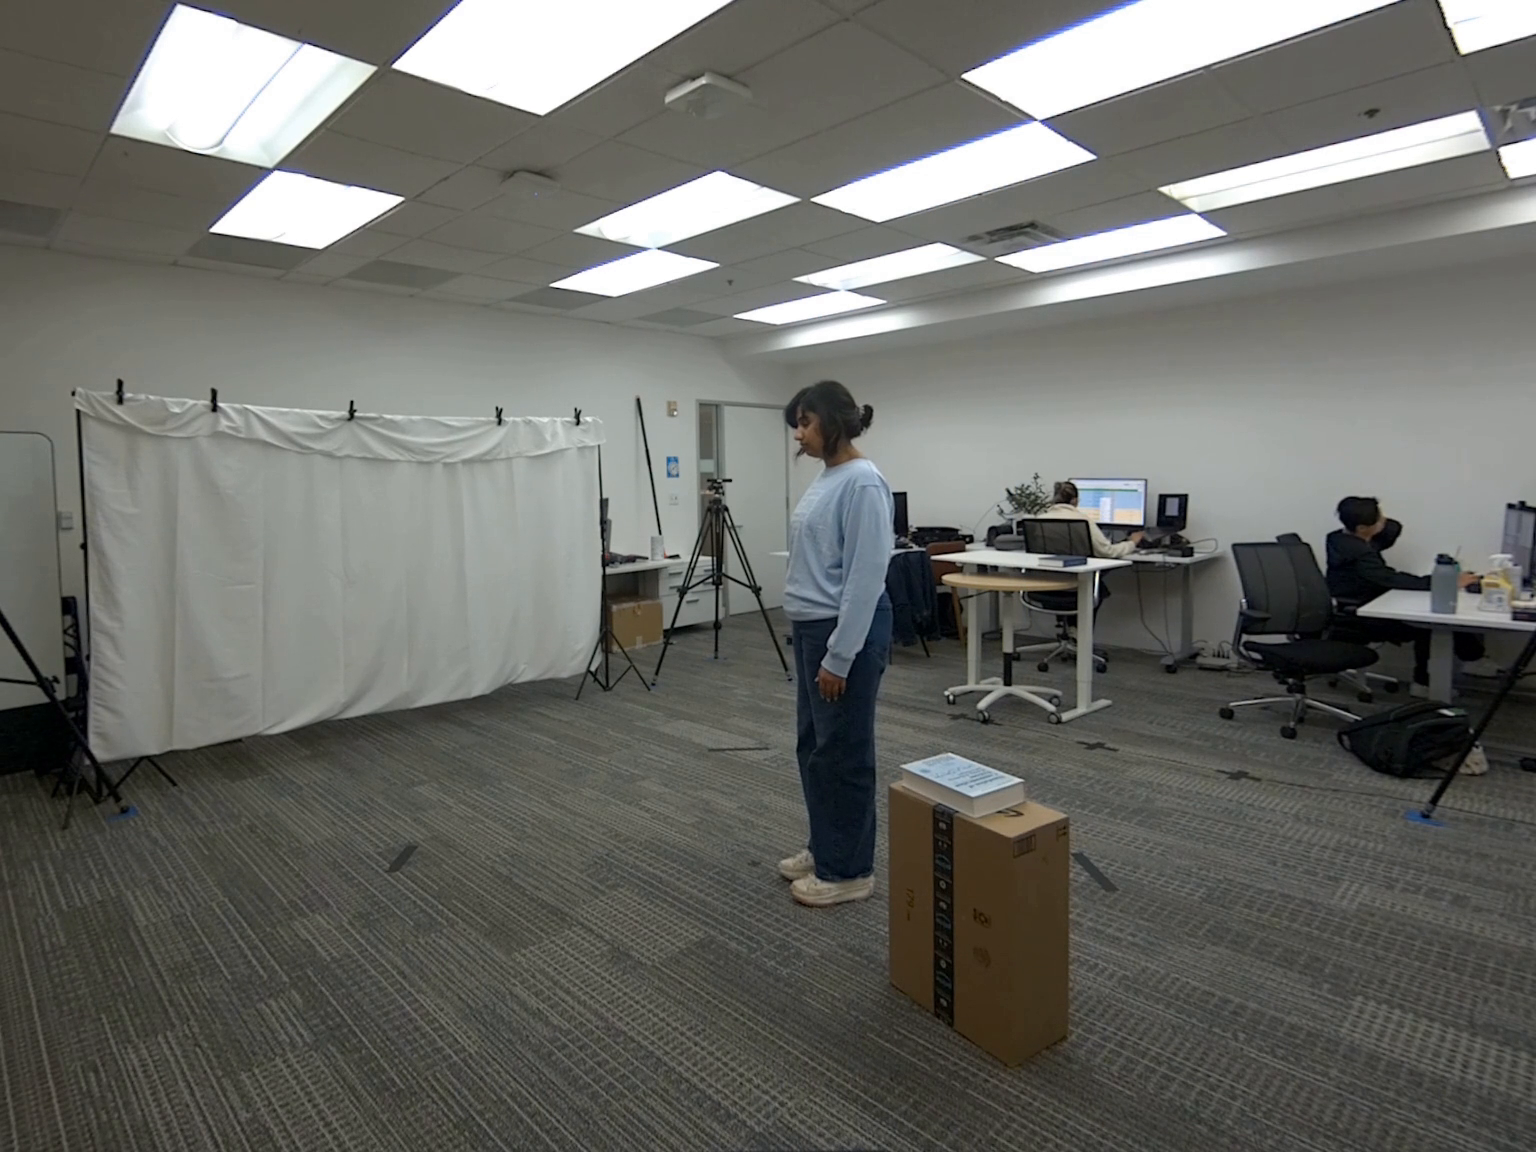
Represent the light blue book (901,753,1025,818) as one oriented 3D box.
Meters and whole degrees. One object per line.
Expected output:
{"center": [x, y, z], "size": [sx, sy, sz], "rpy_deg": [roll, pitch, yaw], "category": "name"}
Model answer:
{"center": [0.504, 0.539, 2.240], "size": [0.187, 0.059, 0.268], "rpy_deg": [-7, 8, -32], "category": "light blue book"}
